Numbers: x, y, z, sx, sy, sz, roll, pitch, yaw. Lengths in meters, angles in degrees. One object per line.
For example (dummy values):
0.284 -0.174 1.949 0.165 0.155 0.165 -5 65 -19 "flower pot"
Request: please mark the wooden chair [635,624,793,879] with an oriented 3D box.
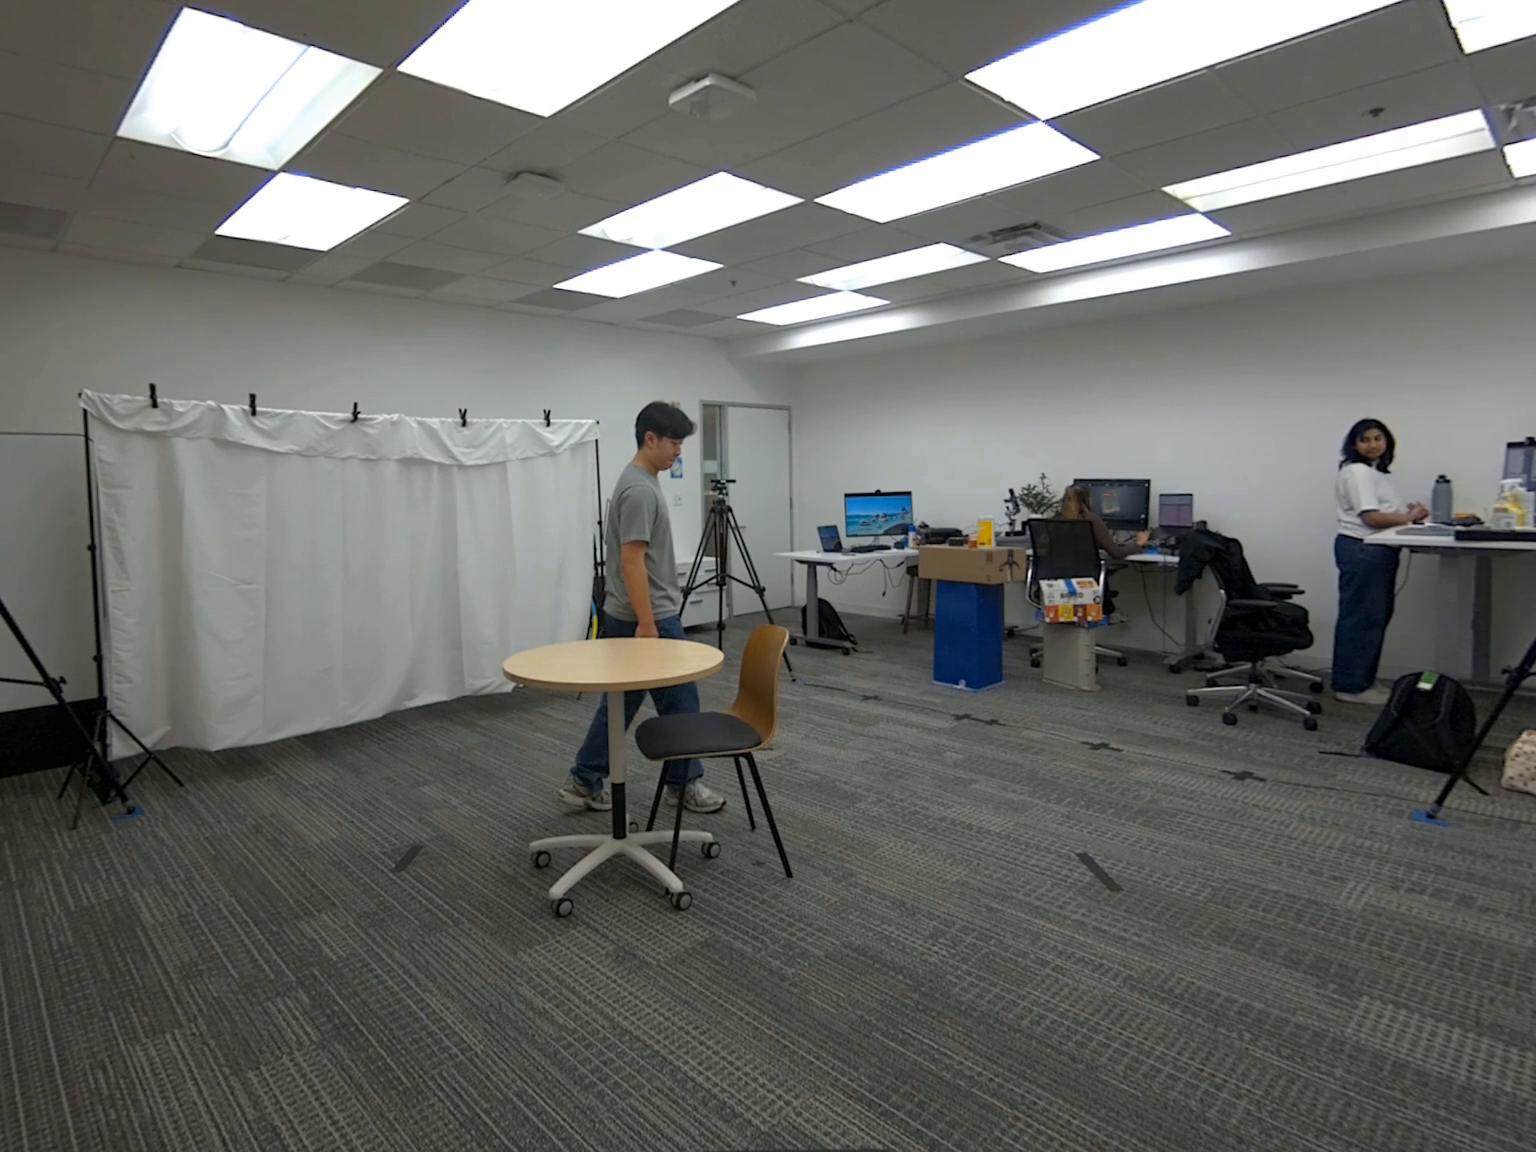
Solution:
-0.207 0.617 3.113 0.515 0.875 0.487 3 3 -17 "wooden chair"
